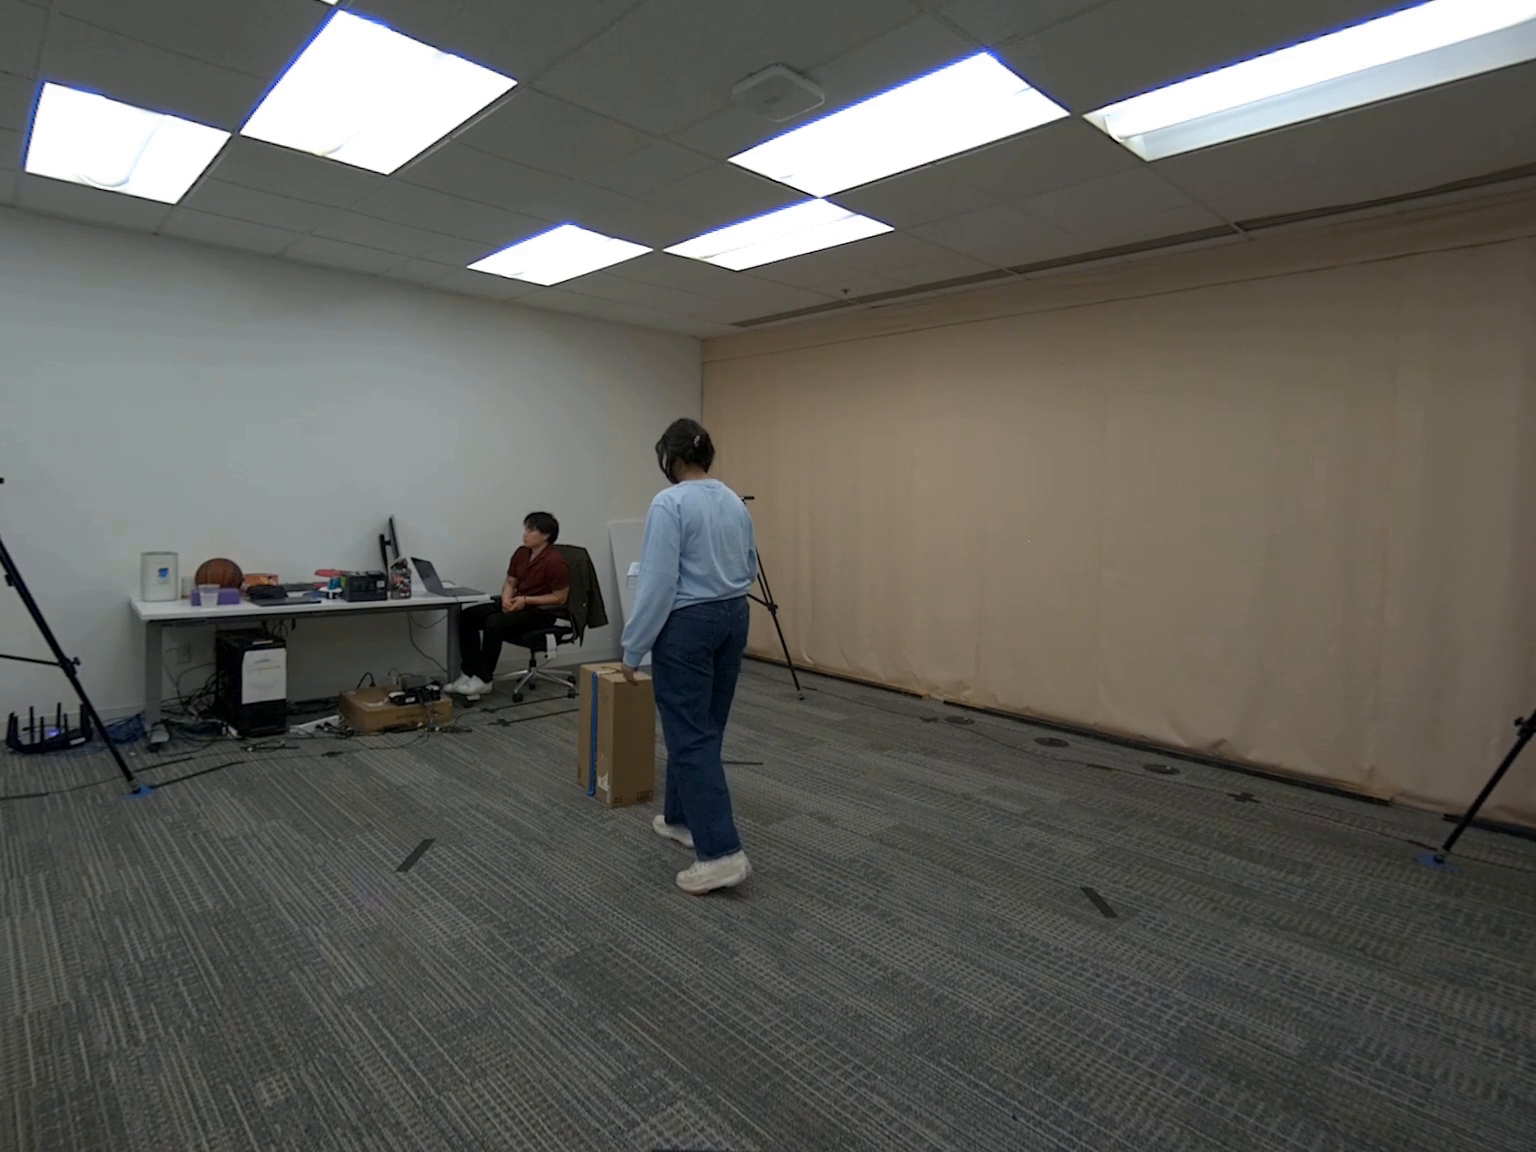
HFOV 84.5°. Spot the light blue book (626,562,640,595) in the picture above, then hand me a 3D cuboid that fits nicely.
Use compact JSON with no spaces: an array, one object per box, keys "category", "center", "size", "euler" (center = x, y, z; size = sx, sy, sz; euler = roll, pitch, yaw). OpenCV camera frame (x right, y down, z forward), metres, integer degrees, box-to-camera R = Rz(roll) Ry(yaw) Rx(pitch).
[{"category":"light blue book","center":[-0.497,0.000,3.456],"size":[0.192,0.058,0.262],"euler":[3,12,3]}]
